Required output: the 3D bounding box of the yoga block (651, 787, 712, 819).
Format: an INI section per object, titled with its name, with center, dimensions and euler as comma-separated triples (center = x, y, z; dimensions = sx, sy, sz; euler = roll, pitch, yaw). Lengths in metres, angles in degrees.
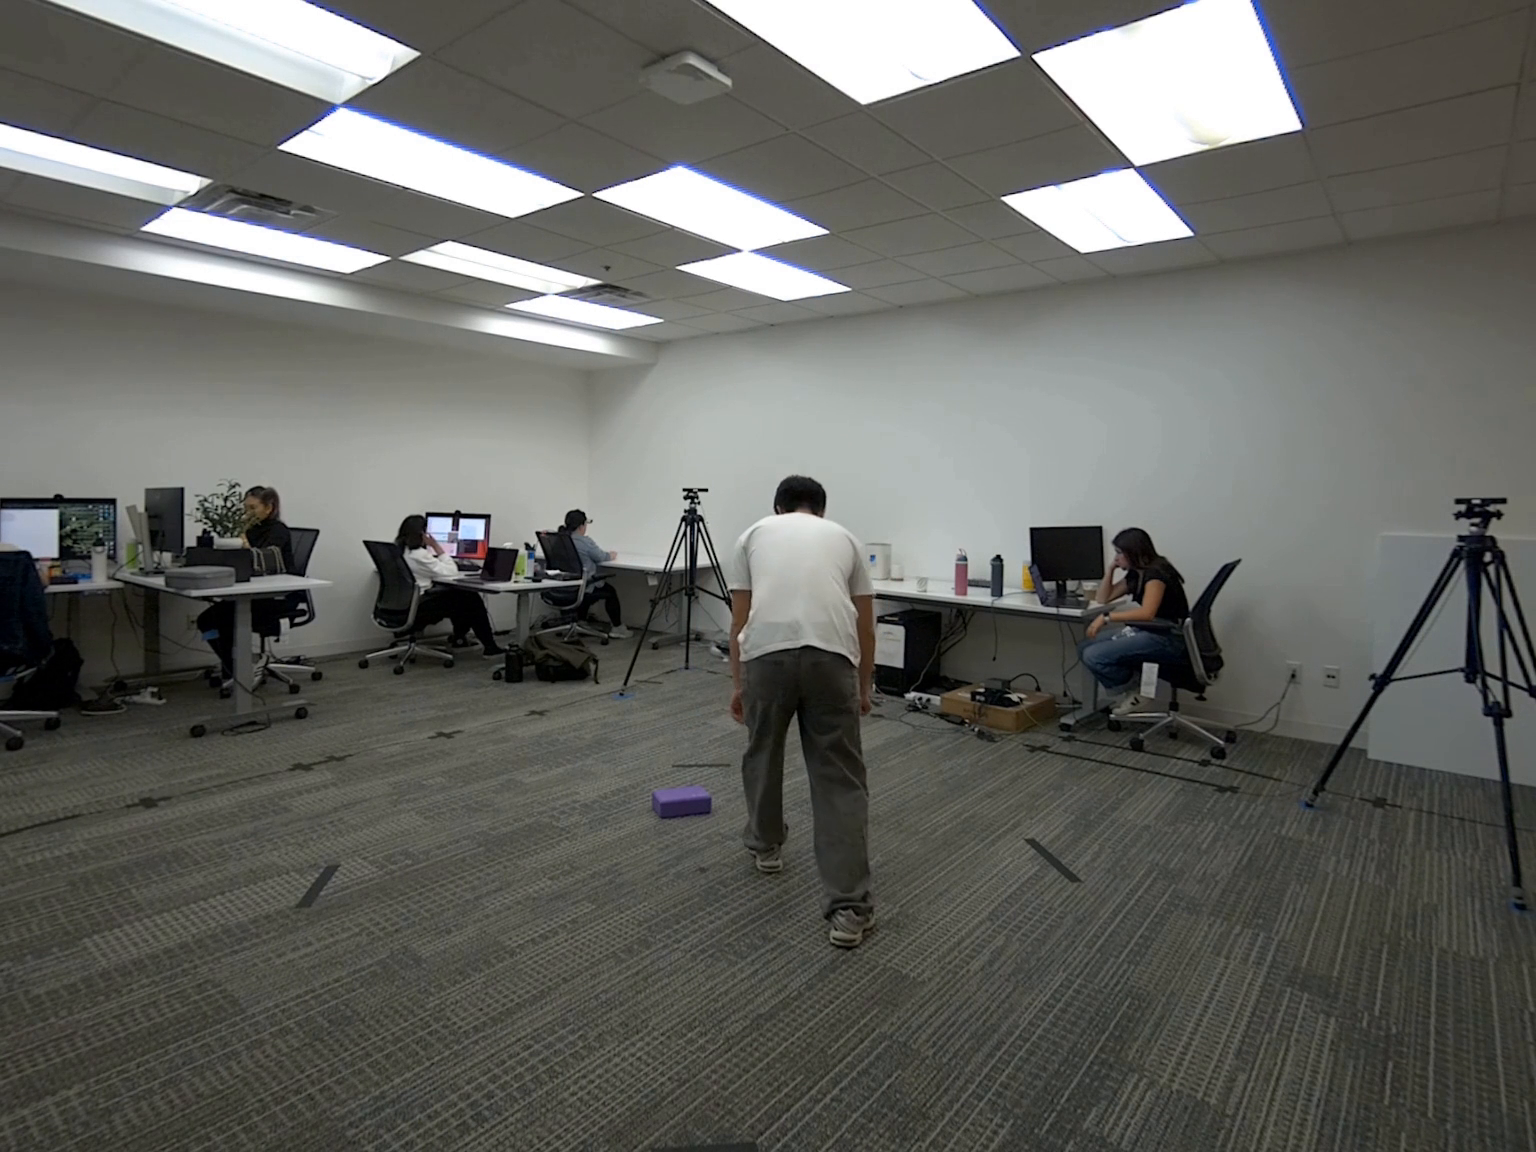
[yoga block]
center = -0.372, 0.966, 3.684
dimensions = 0.225, 0.076, 0.153
euler = -2, 6, -20
